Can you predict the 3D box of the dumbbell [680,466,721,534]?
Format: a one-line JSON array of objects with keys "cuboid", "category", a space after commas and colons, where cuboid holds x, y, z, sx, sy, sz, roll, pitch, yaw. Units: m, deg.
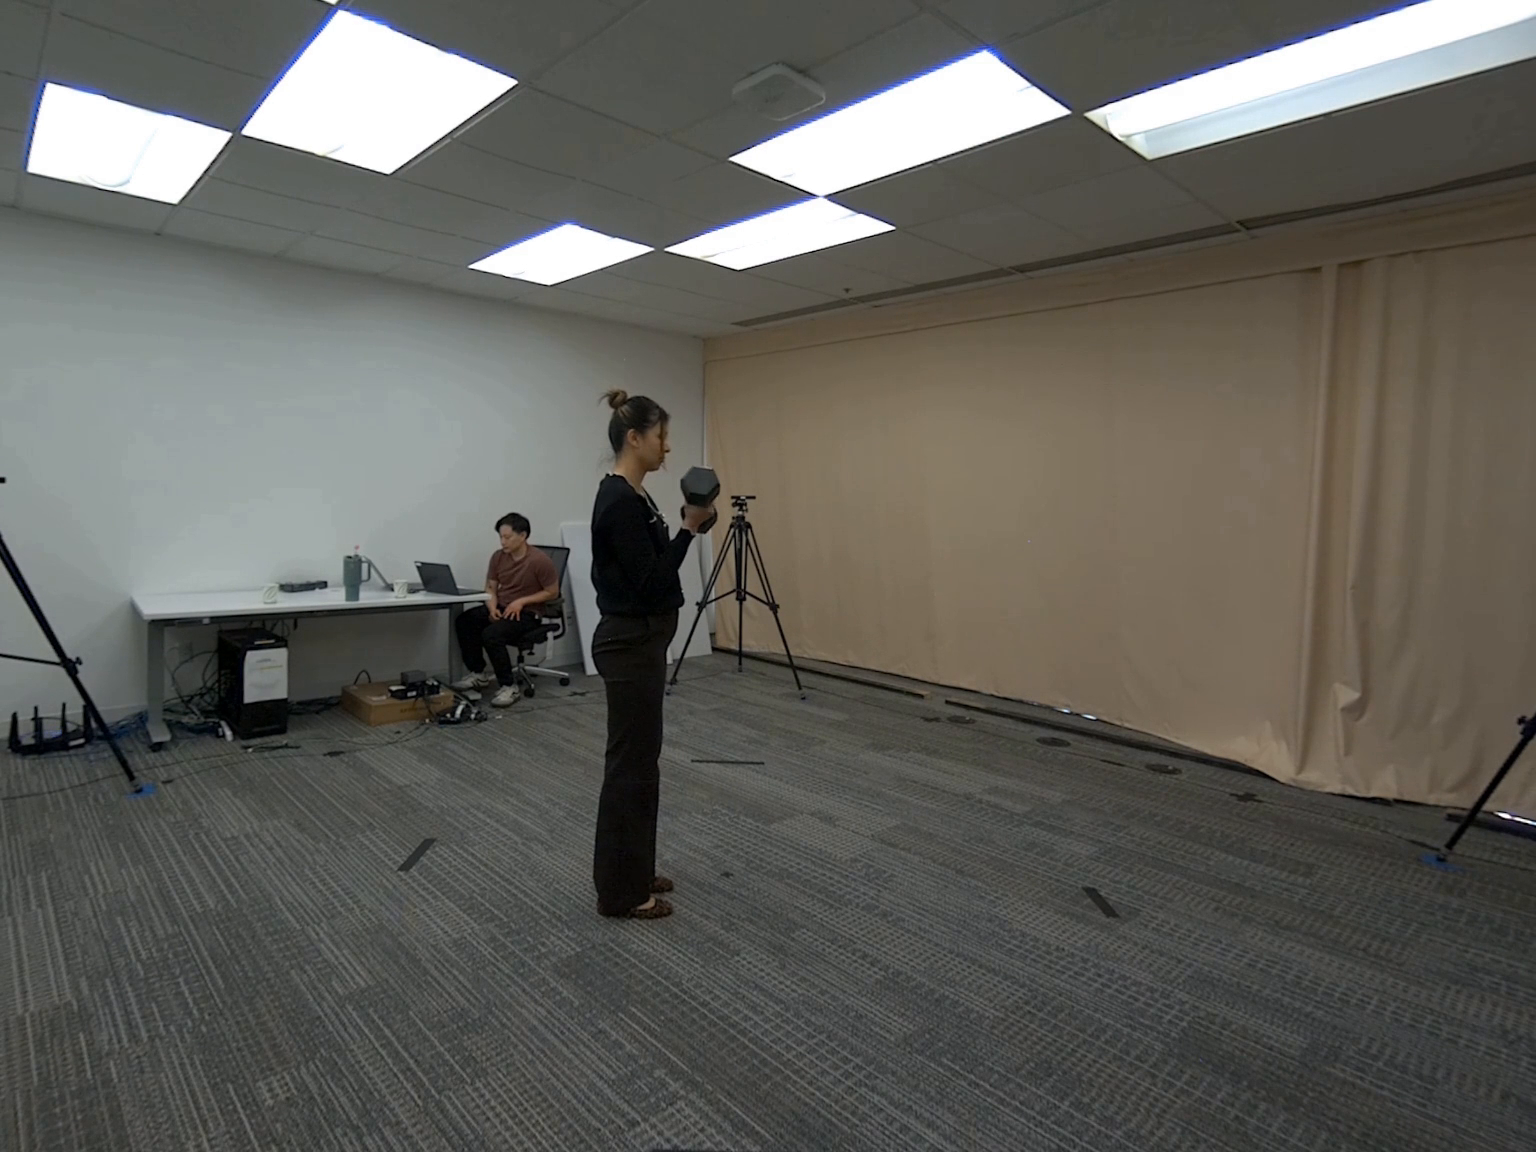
[{"cuboid": [-0.230, -0.239, 2.647, 0.123, 0.110, 0.290, 9, -22, -2], "category": "dumbbell"}]
